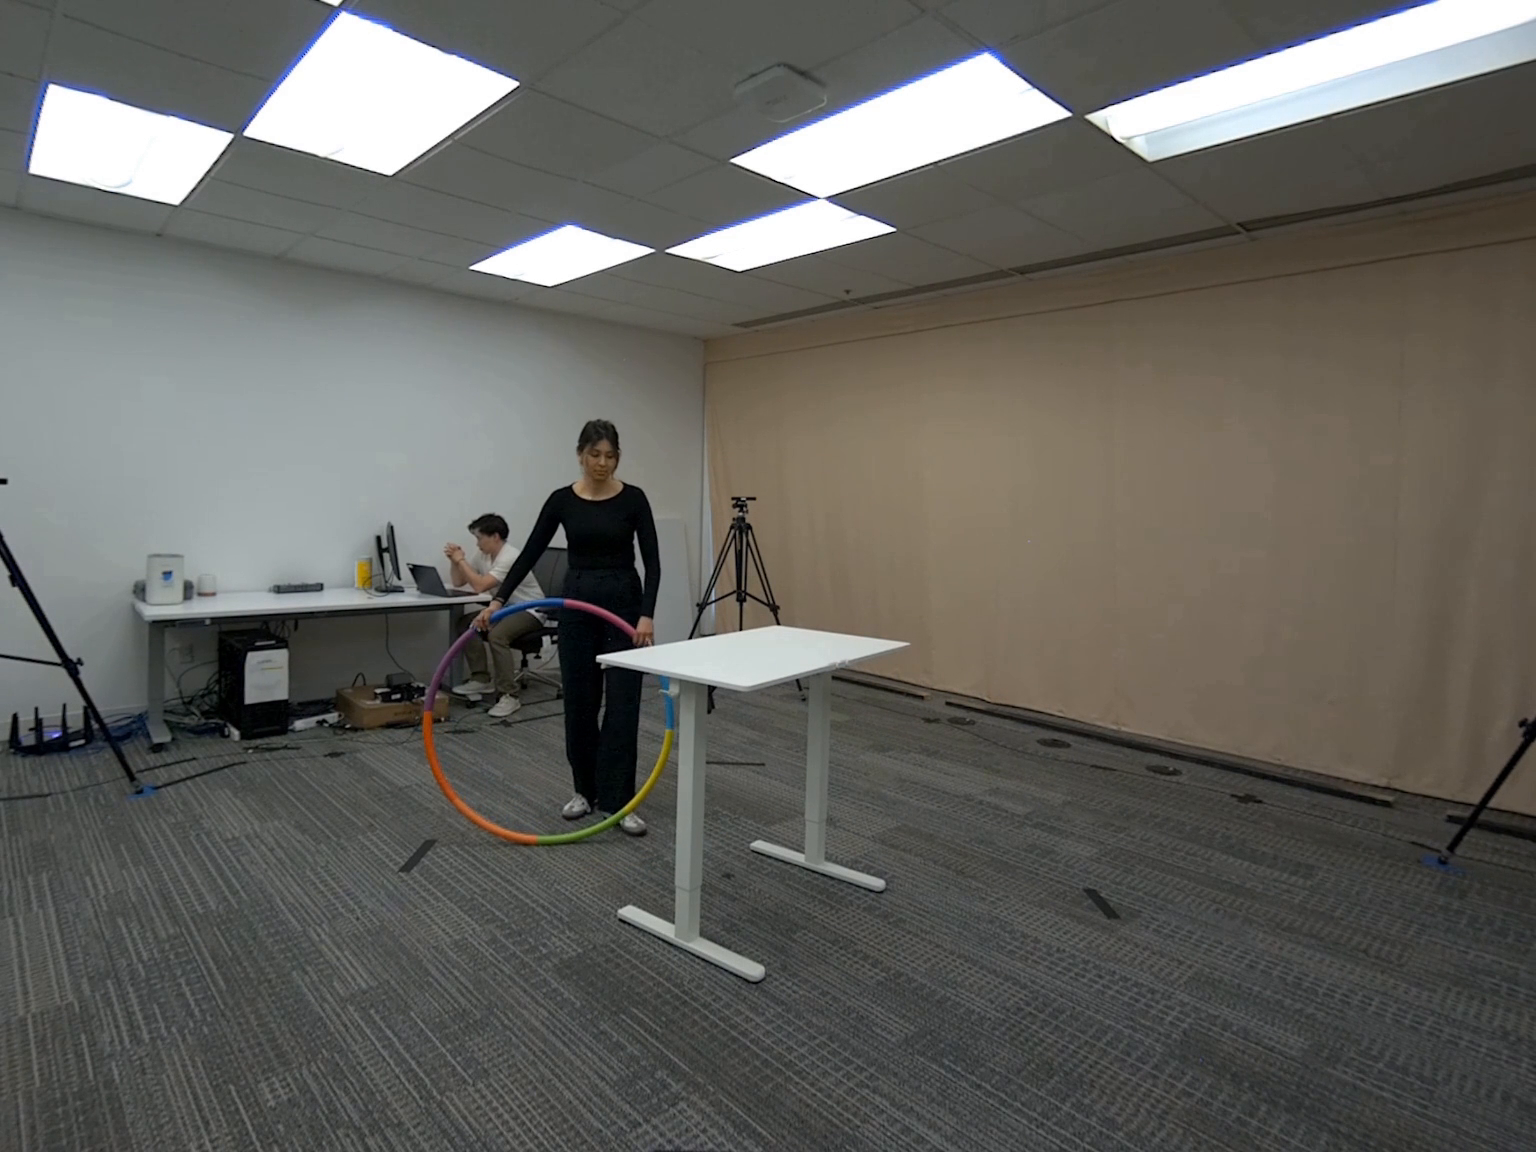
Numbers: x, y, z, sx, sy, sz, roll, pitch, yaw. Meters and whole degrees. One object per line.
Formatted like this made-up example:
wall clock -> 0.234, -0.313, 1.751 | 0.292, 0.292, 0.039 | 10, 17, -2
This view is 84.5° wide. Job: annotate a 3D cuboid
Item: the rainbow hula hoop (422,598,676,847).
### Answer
rainbow hula hoop -> -0.888, 0.581, 3.397 | 0.974, 0.983, 0.035 | 1, -7, -5
